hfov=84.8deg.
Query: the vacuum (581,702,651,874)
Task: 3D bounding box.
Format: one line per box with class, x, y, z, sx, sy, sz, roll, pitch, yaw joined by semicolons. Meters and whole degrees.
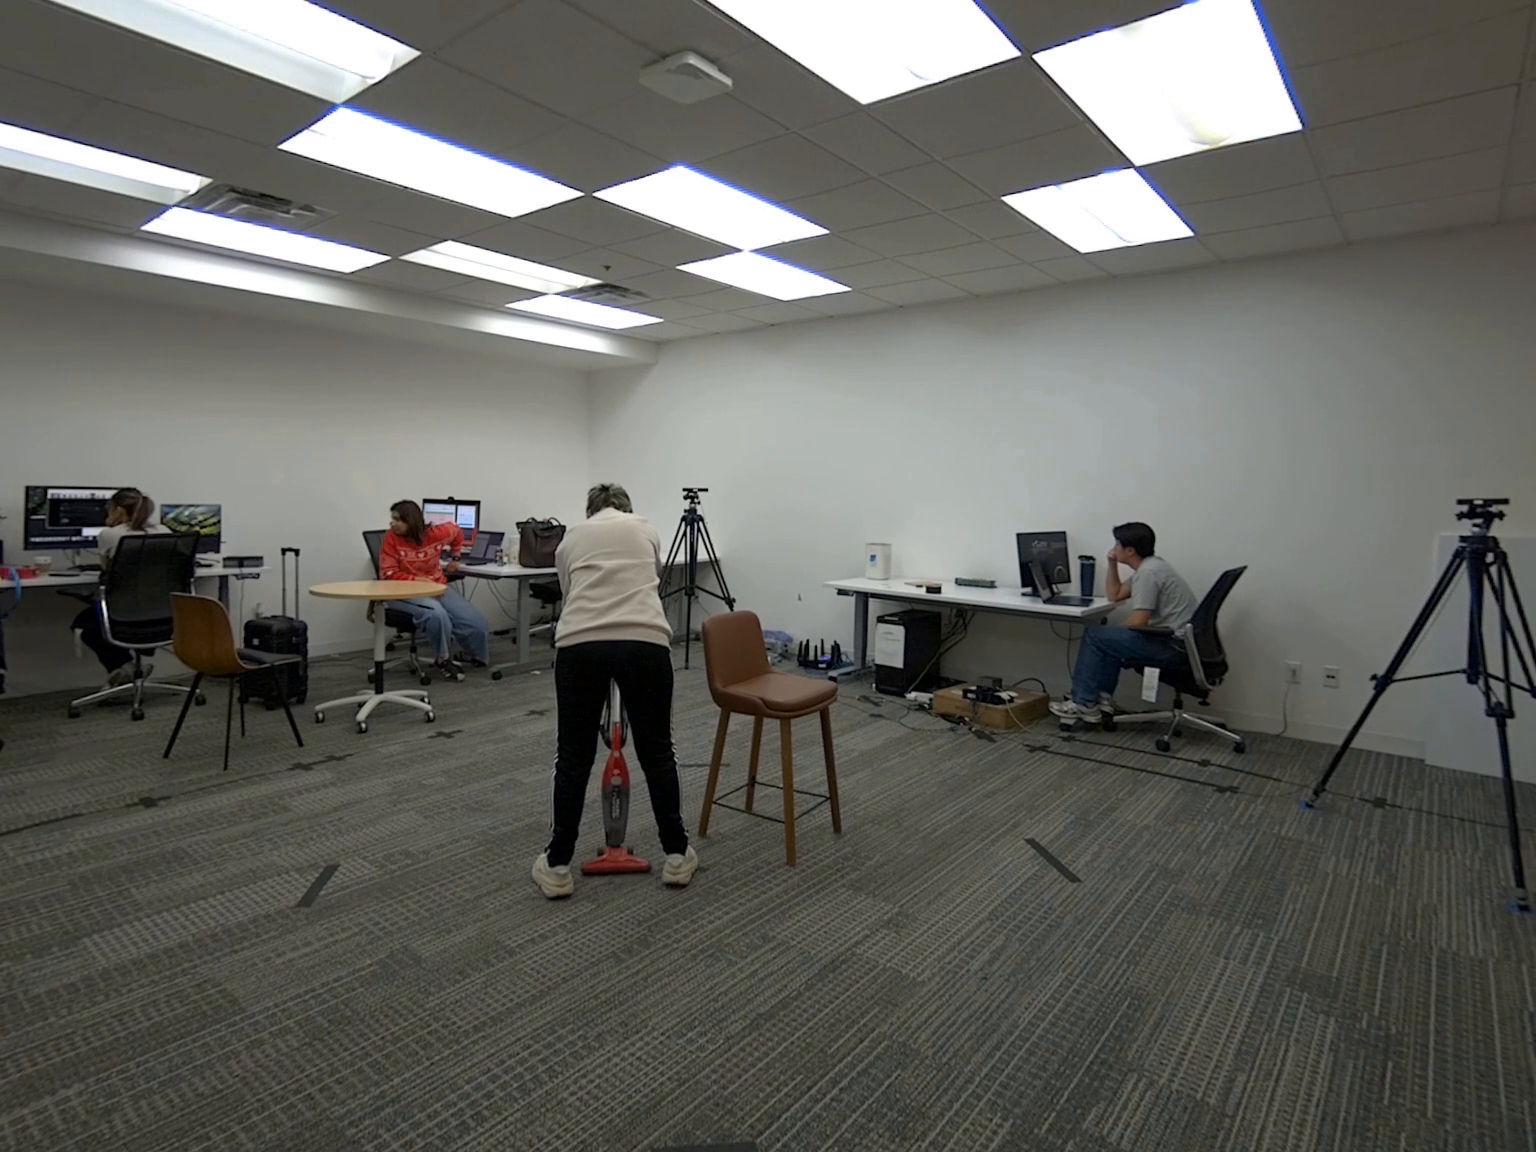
vacuum;-0.619;0.606;3.419;0.249;1.081;0.141;1;-35;-12
